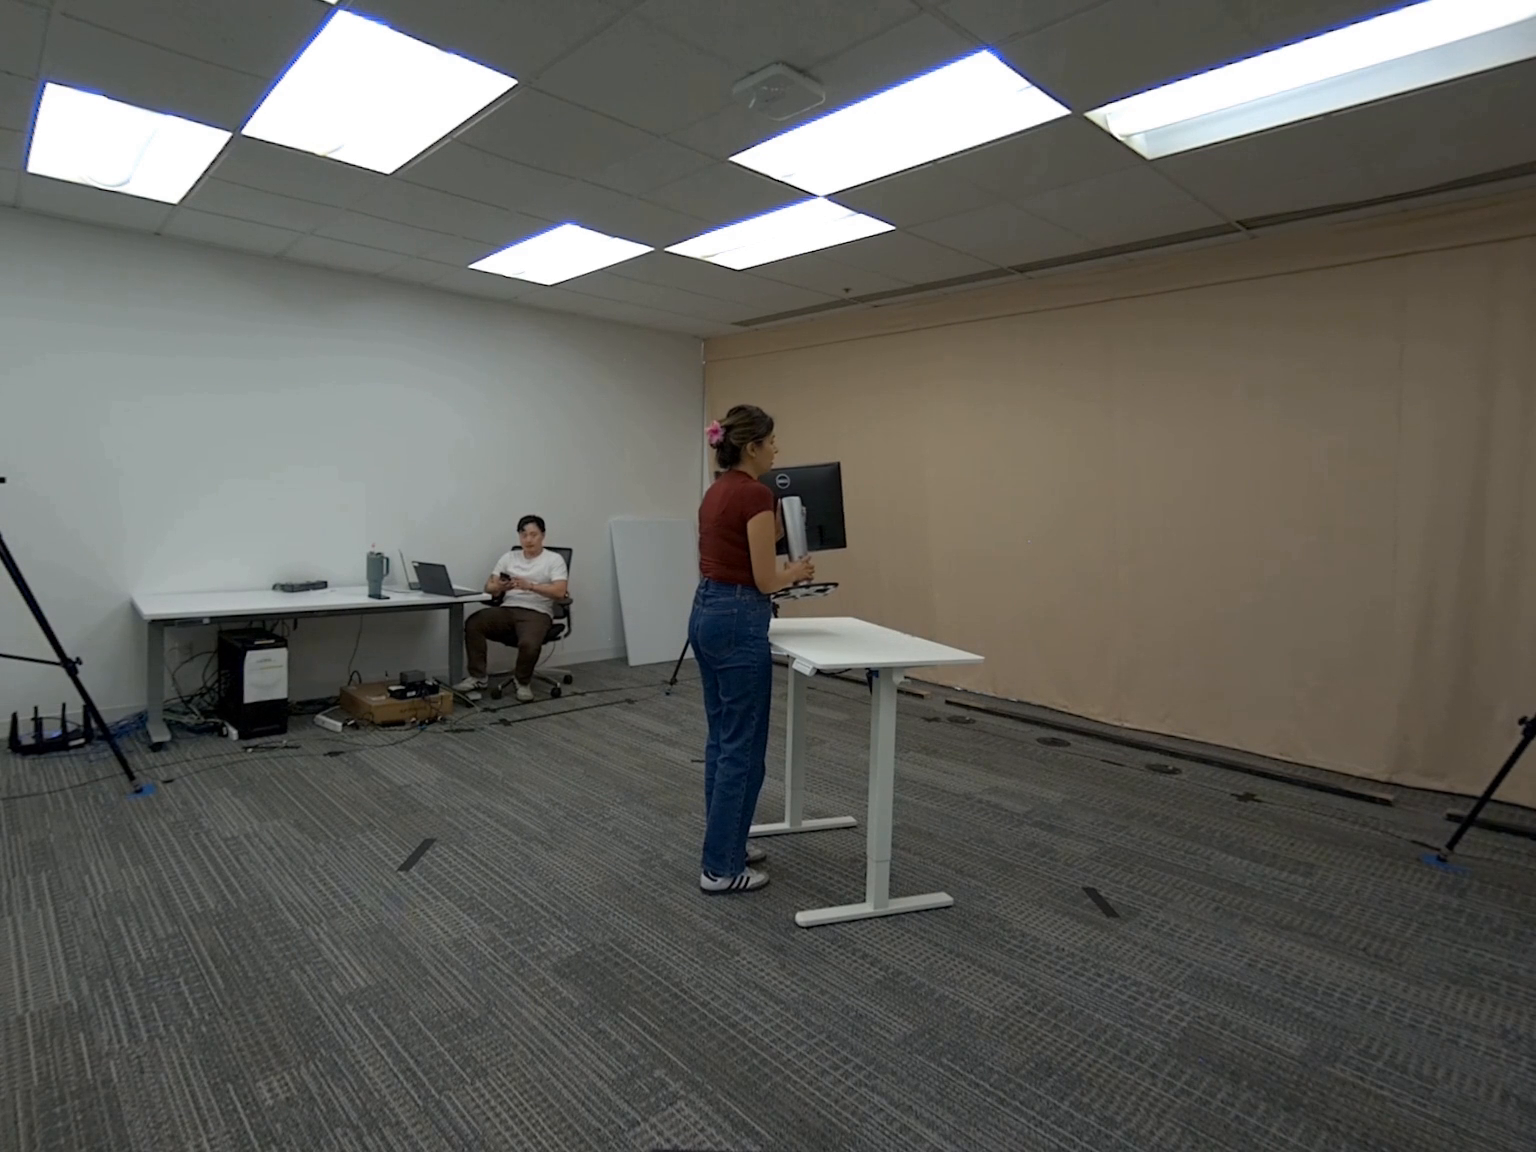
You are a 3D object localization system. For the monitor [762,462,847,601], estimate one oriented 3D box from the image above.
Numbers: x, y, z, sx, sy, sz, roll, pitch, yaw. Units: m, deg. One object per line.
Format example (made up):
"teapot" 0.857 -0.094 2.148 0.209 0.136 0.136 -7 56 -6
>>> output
"monitor" 0.082 -0.176 3.281 0.531 0.527 0.188 -7 -11 -21
